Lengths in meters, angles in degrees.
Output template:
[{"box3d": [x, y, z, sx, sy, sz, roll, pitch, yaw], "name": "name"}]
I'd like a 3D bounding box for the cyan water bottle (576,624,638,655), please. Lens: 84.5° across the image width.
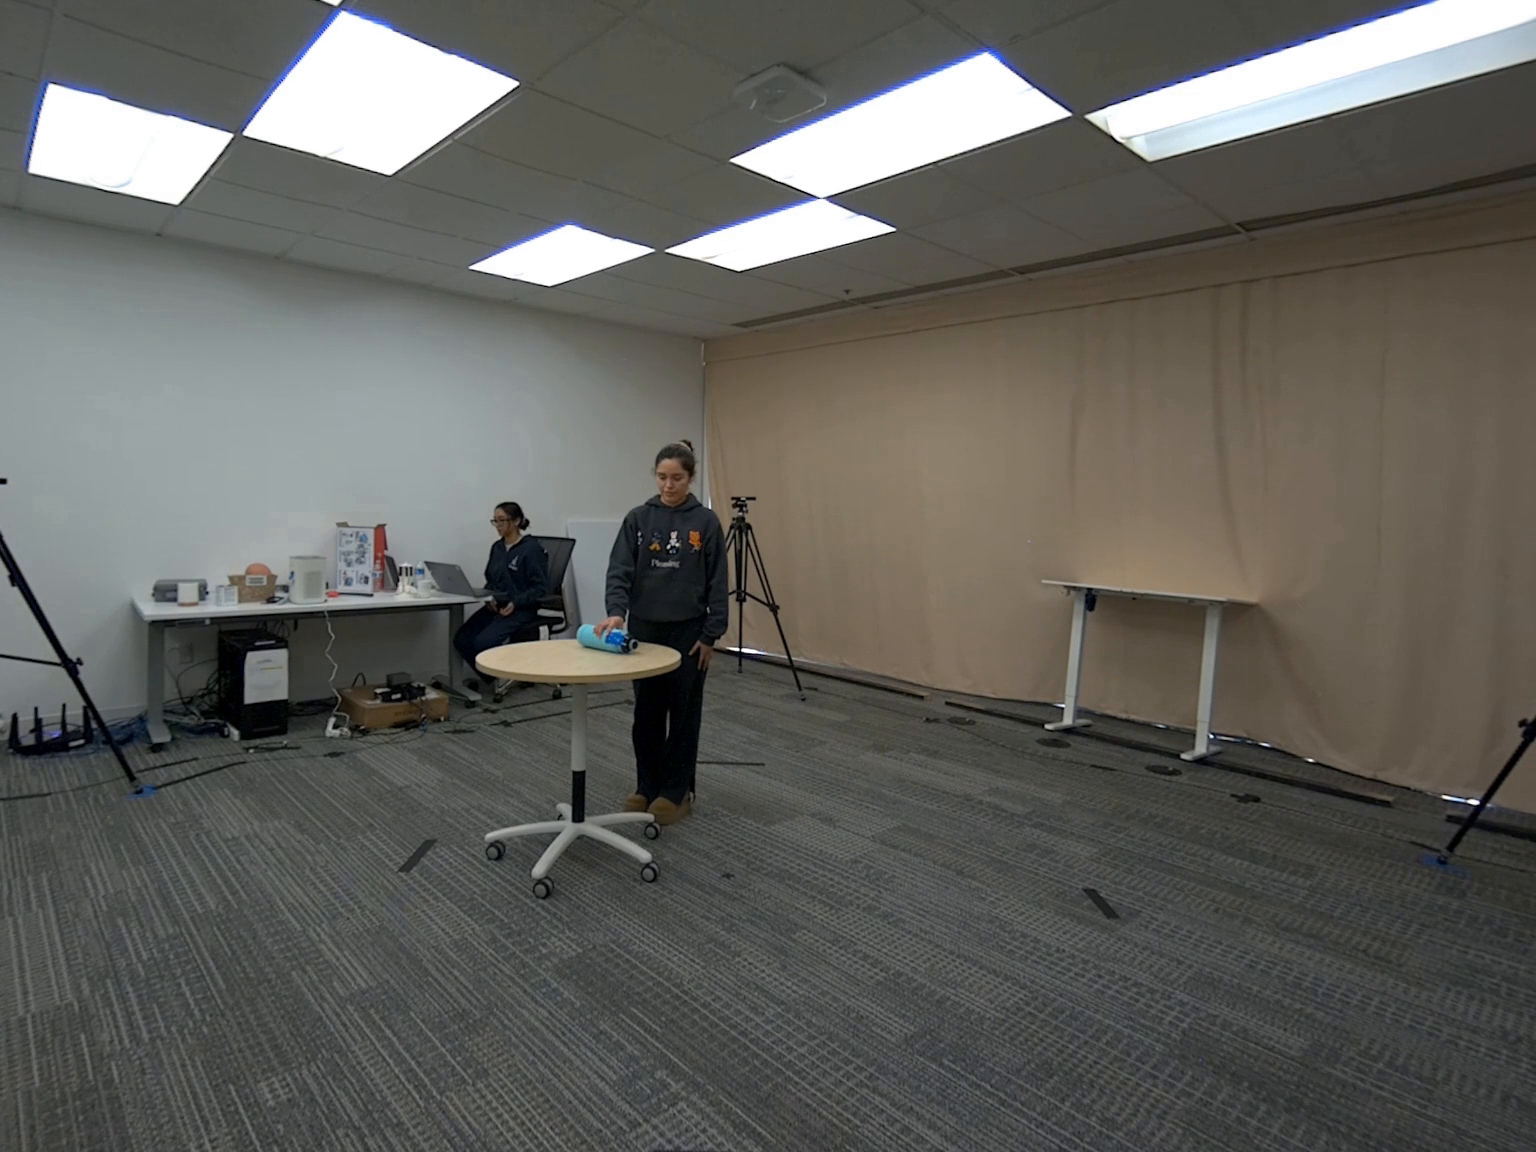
[{"box3d": [-0.646, 0.251, 3.316, 0.290, 0.092, 0.090, 5, 6, 40], "name": "cyan water bottle"}]
